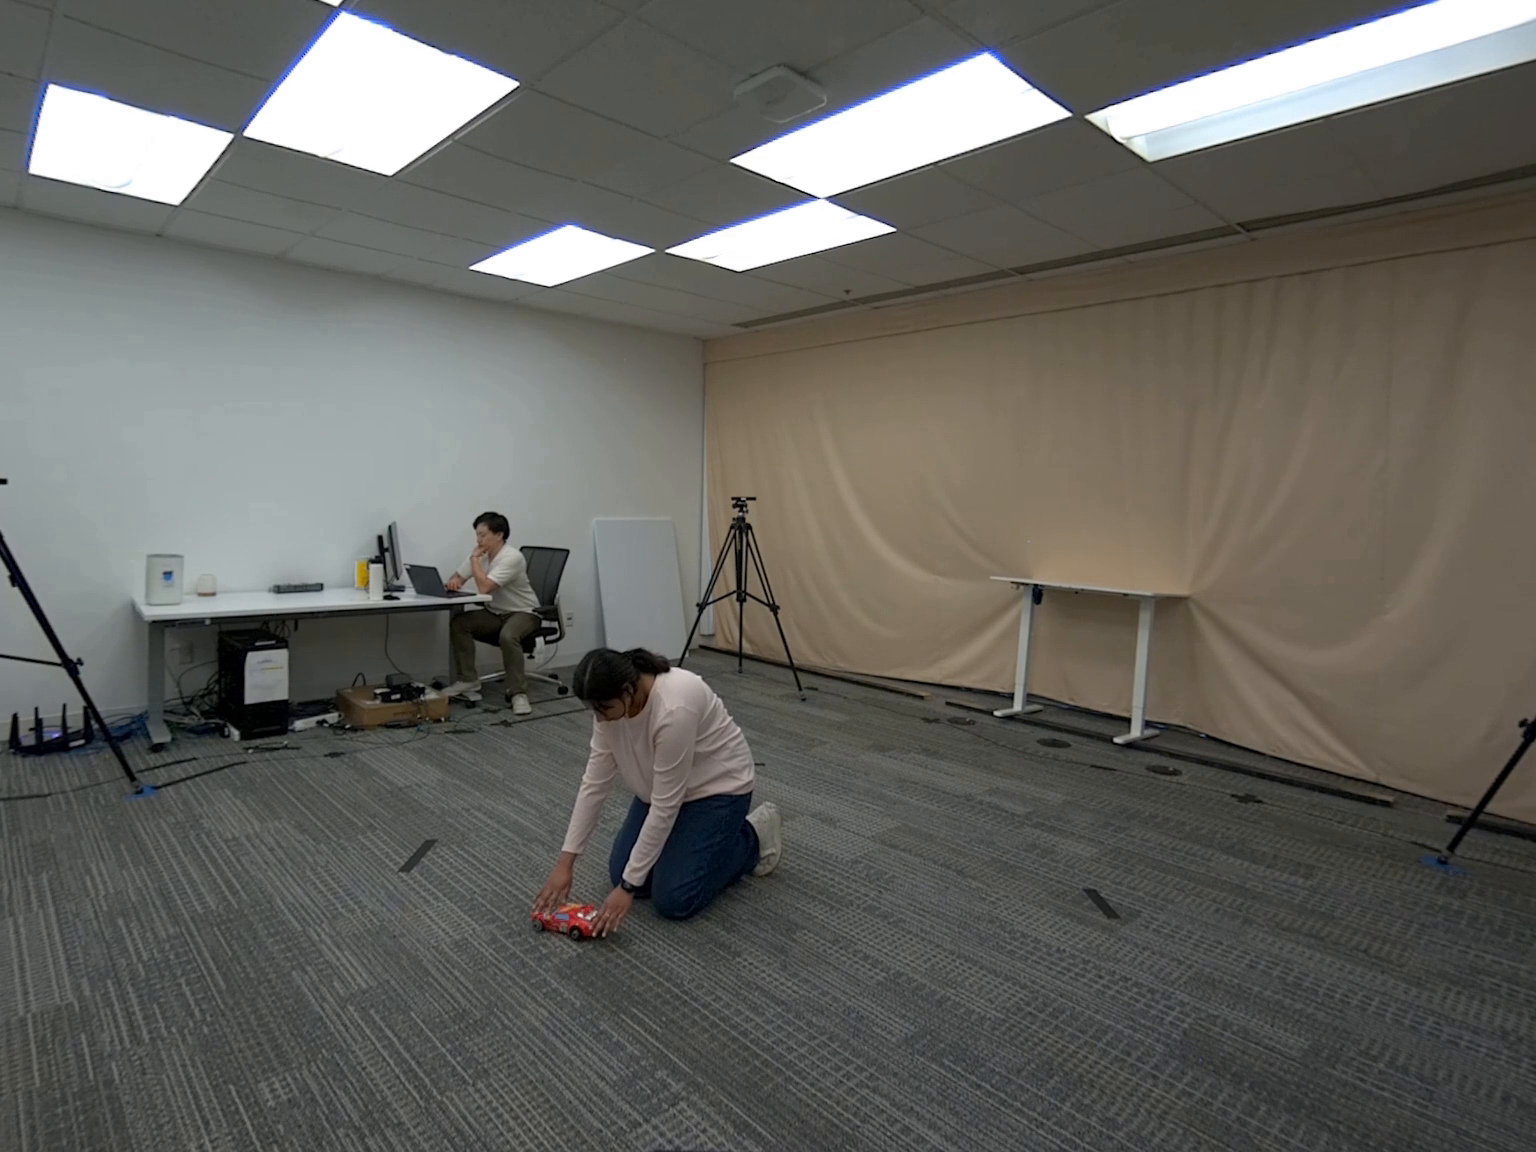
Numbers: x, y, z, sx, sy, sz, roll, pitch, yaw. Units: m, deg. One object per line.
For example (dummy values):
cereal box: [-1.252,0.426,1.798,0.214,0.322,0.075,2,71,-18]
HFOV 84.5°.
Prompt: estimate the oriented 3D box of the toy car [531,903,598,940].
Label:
toy car: [-0.628,1.099,2.688,0.258,0.083,0.128,-10,0,20]
